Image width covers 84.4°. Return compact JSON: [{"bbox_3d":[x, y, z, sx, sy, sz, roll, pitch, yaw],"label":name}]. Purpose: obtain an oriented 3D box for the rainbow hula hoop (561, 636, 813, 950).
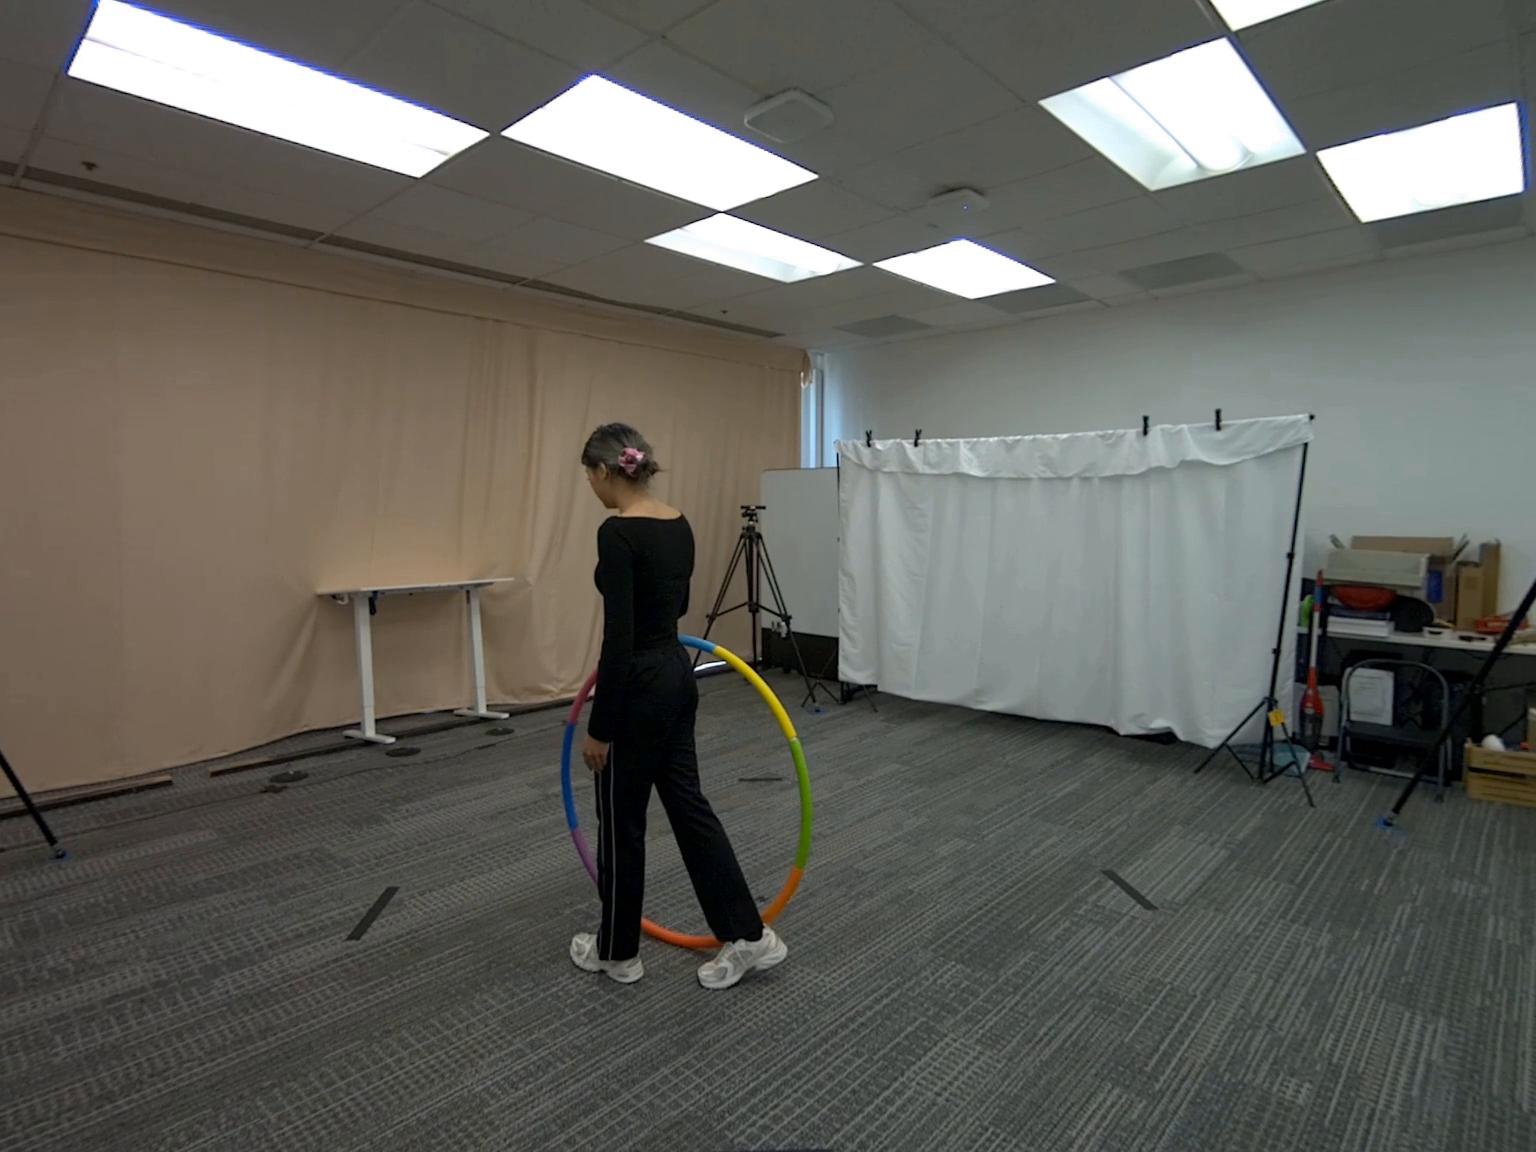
[{"bbox_3d":[-0.294,0.679,2.702,1.008,0.979,0.034,3,-1,32],"label":"rainbow hula hoop"}]
